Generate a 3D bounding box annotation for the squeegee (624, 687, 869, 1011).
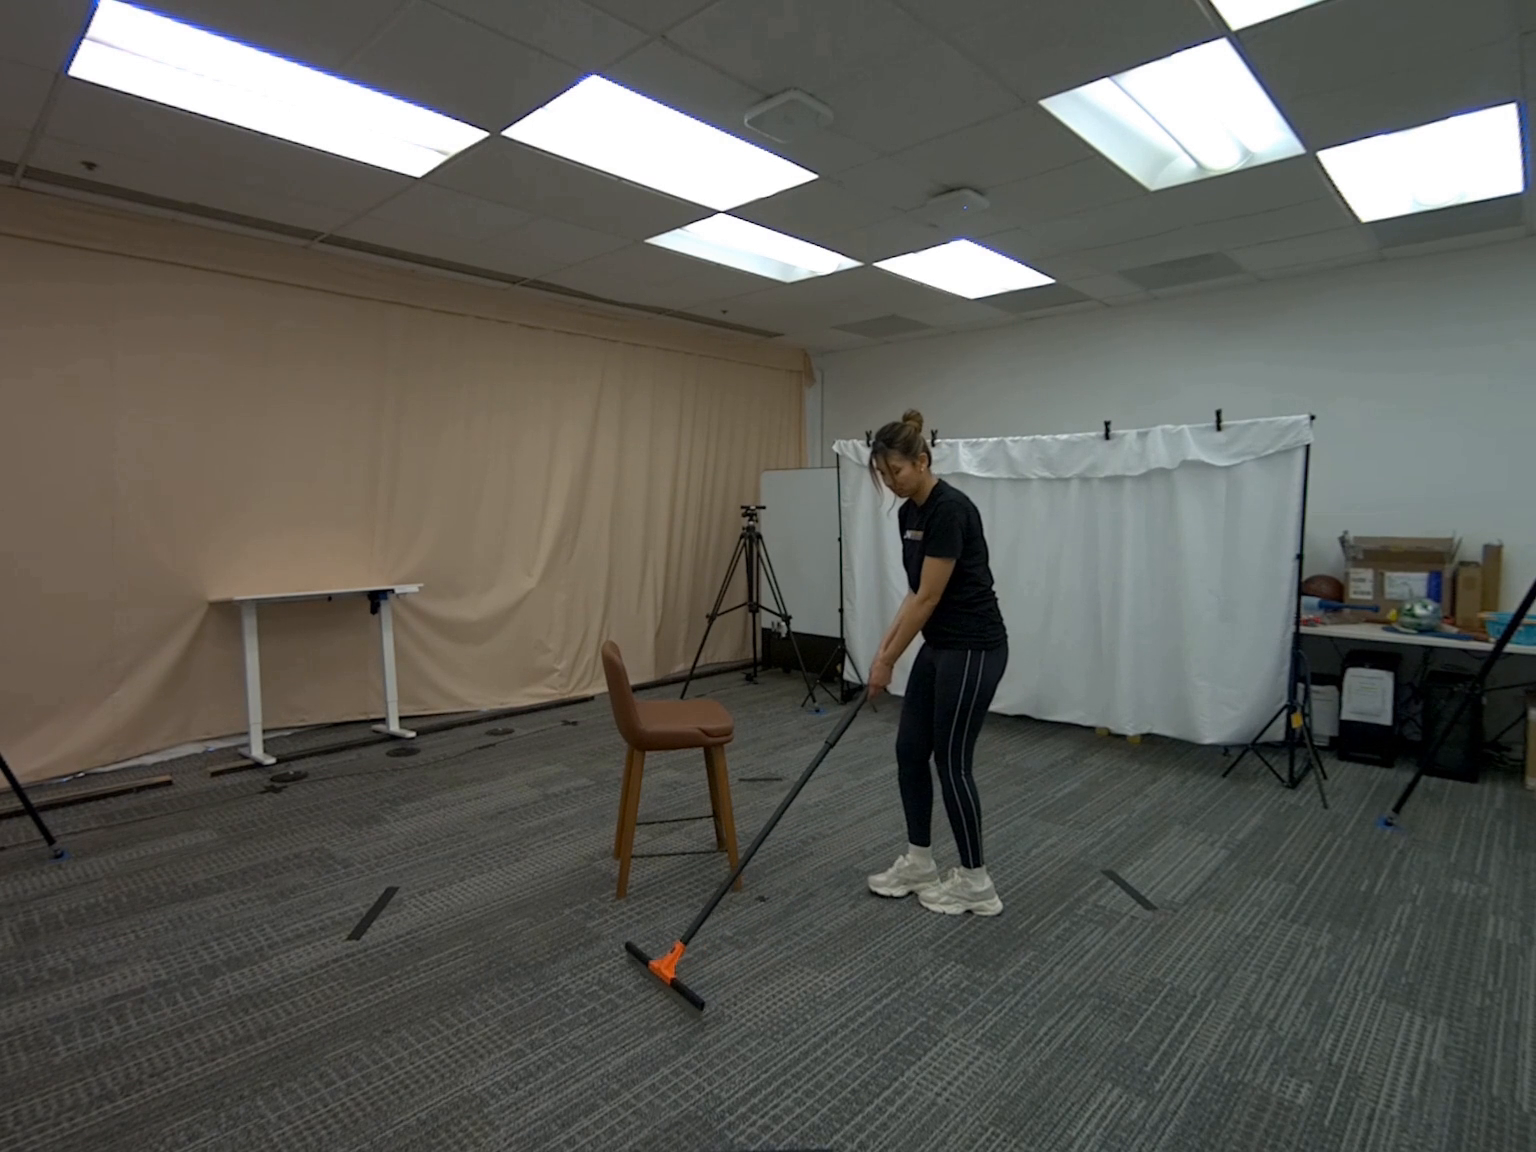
[{"bbox_3d":[0.136,0.639,2.715,1.528,0.052,0.451,-48,26,-24],"label":"squeegee"}]
